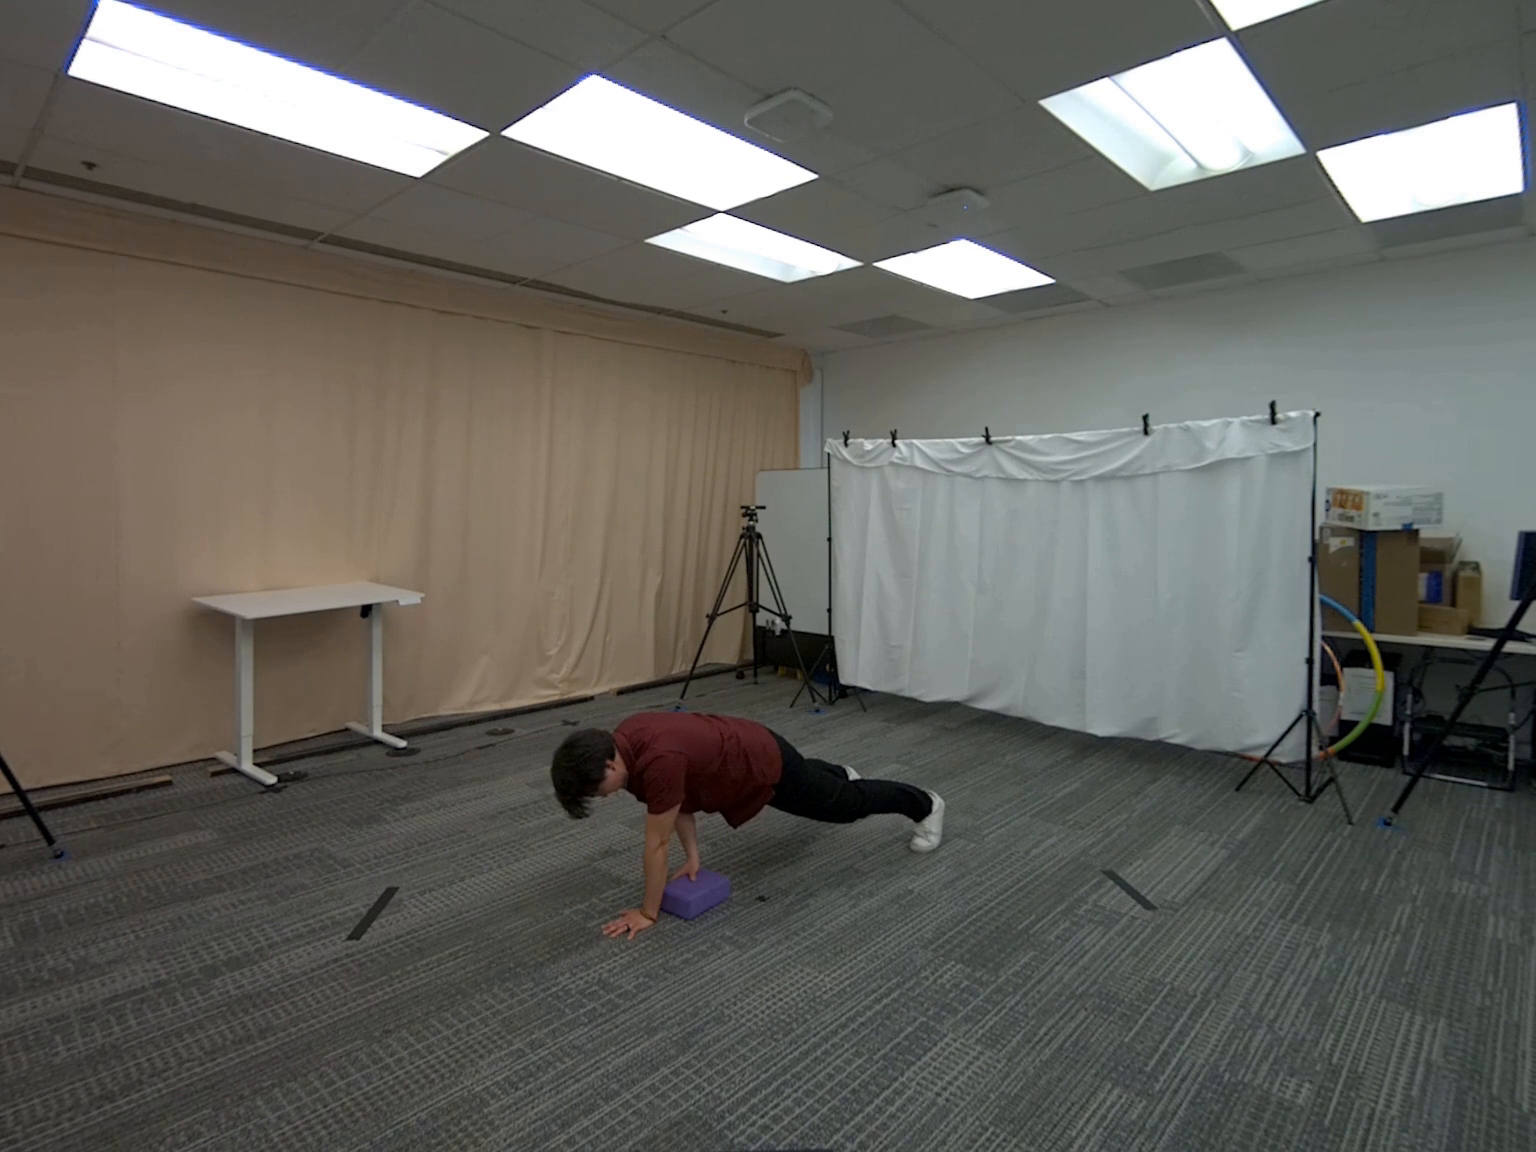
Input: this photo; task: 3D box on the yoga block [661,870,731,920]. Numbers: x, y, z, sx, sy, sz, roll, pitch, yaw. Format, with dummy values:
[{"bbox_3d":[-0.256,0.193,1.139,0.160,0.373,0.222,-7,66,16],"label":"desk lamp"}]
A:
[{"bbox_3d":[-0.258,1.103,2.945,0.154,0.076,0.222,3,5,37],"label":"yoga block"}]
